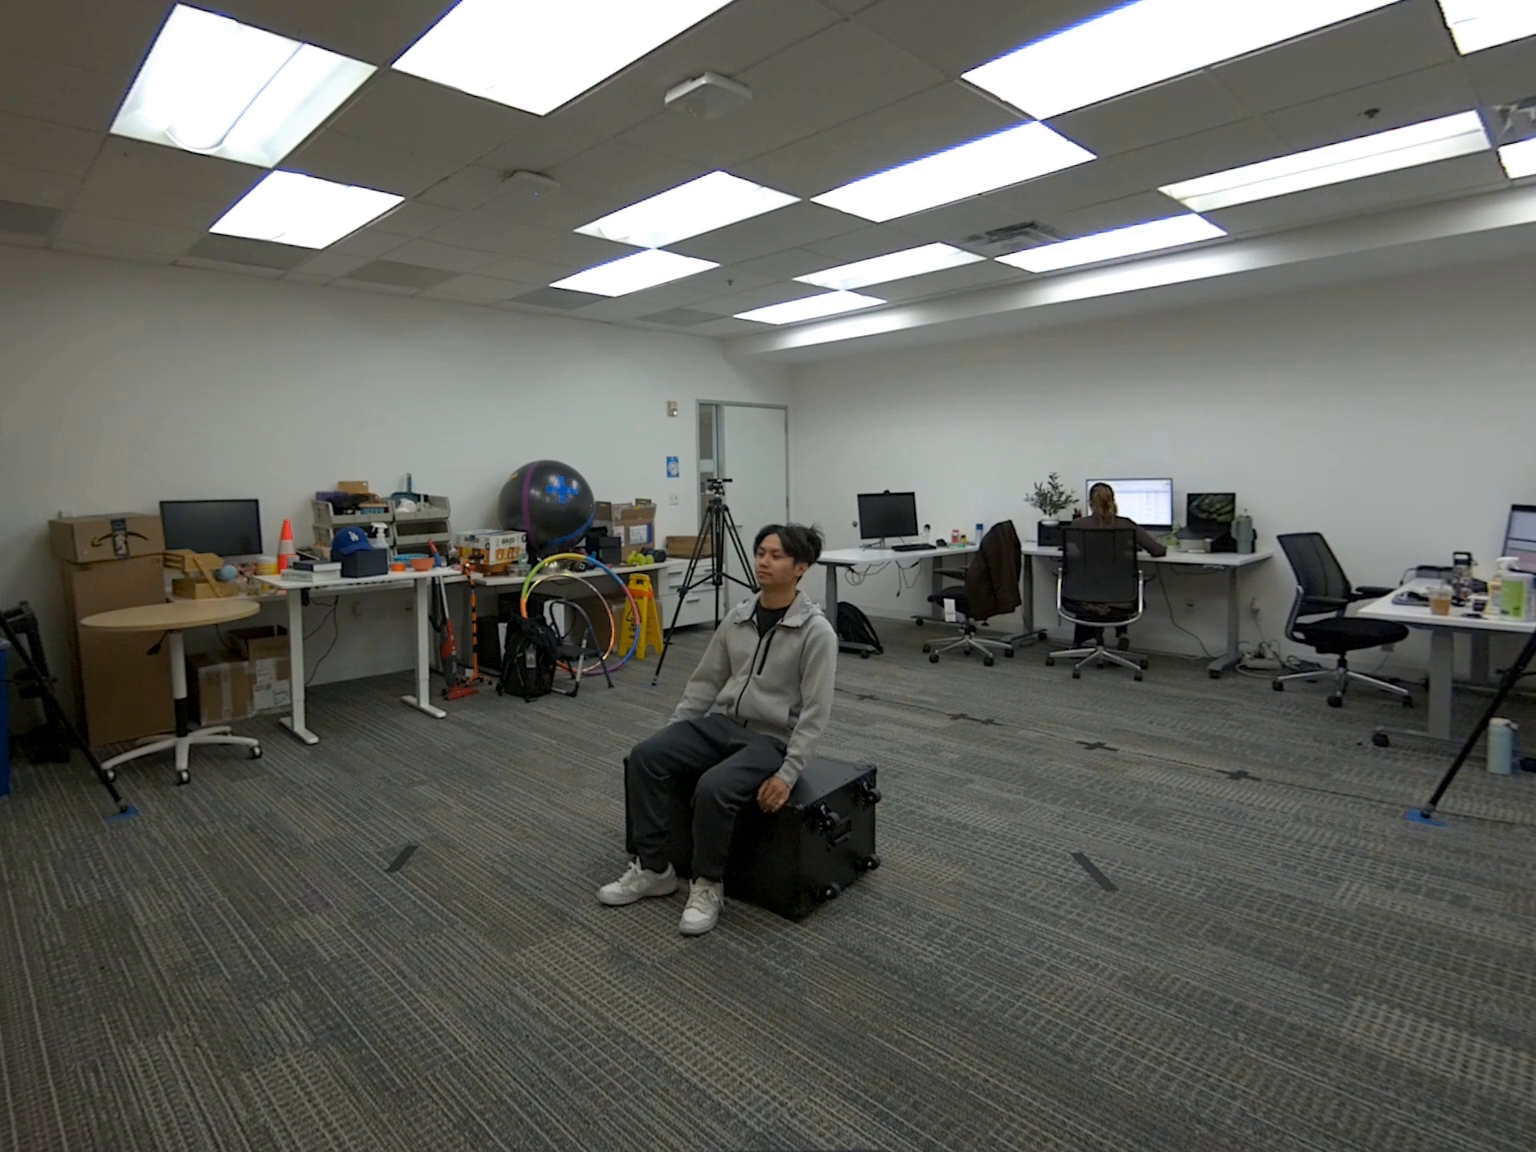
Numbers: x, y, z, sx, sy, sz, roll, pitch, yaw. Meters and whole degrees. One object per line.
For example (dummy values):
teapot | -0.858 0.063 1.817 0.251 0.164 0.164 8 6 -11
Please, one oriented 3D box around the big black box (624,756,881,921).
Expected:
big black box | -0.091 0.856 3.114 0.887 0.394 0.508 4 7 38
